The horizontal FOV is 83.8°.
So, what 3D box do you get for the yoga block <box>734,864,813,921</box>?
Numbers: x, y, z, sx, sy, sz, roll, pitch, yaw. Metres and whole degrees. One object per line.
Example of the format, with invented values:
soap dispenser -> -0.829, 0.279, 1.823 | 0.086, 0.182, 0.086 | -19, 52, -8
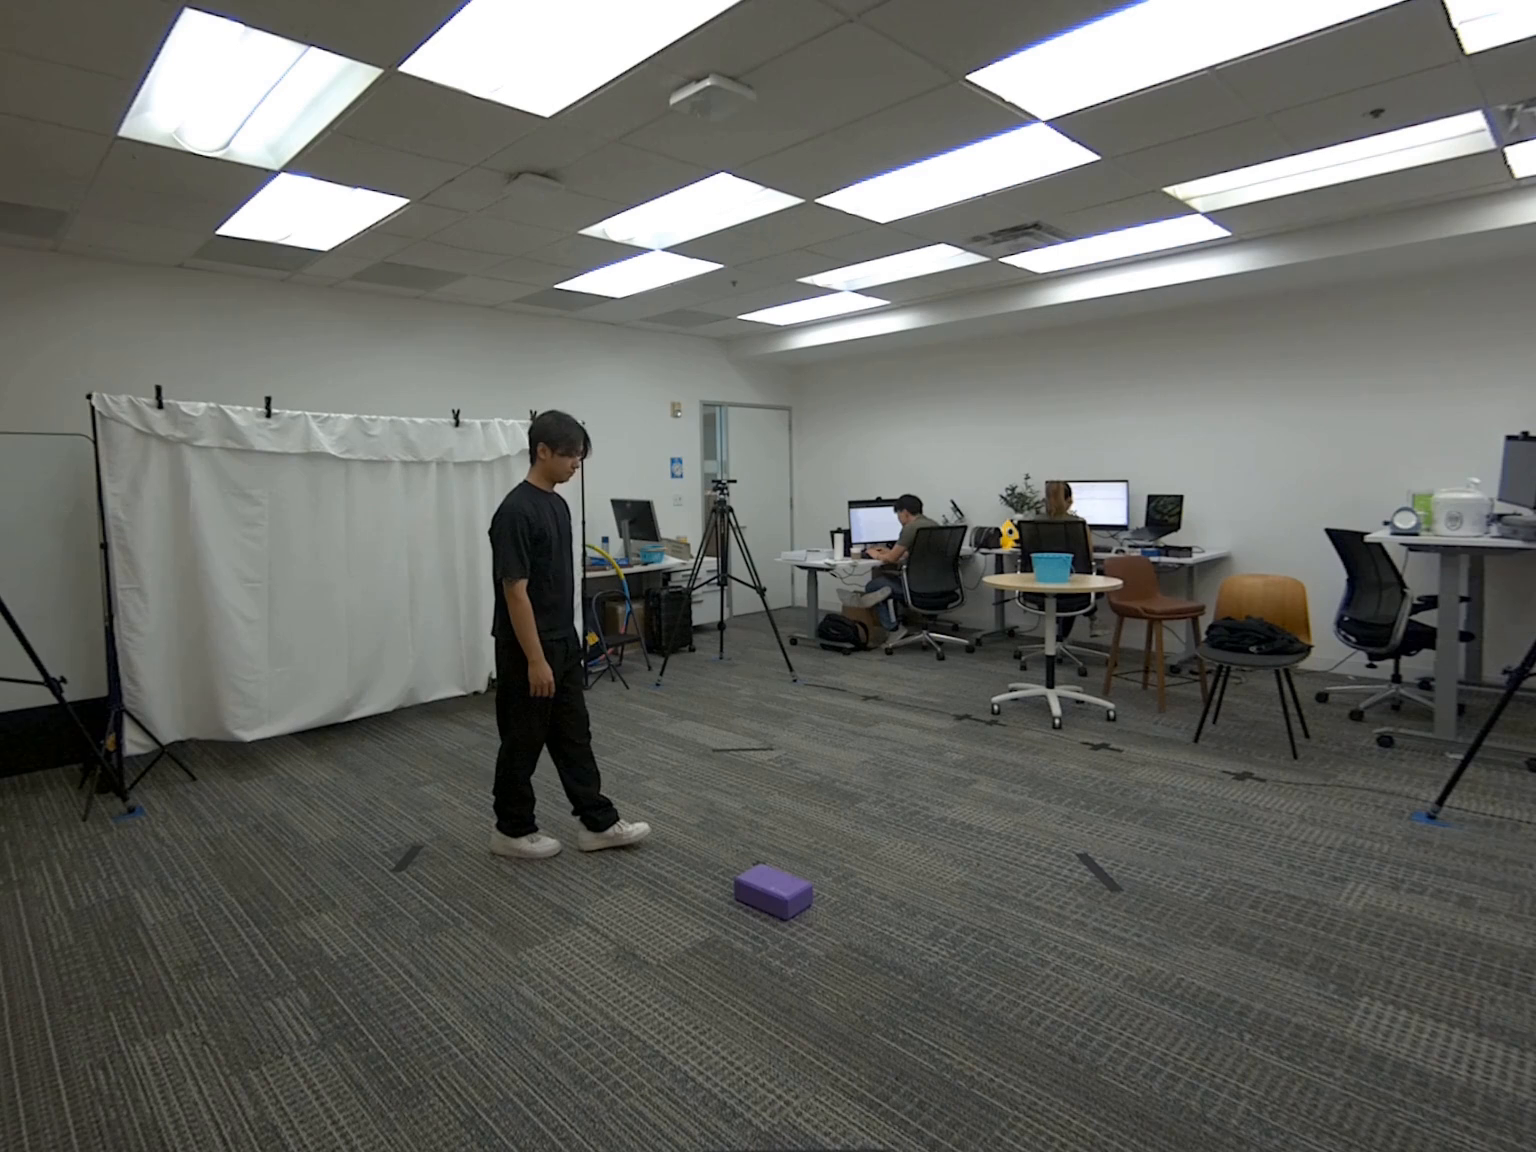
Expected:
yoga block -> 0.022, 1.041, 2.821 | 0.236, 0.076, 0.145 | 4, 8, 41
